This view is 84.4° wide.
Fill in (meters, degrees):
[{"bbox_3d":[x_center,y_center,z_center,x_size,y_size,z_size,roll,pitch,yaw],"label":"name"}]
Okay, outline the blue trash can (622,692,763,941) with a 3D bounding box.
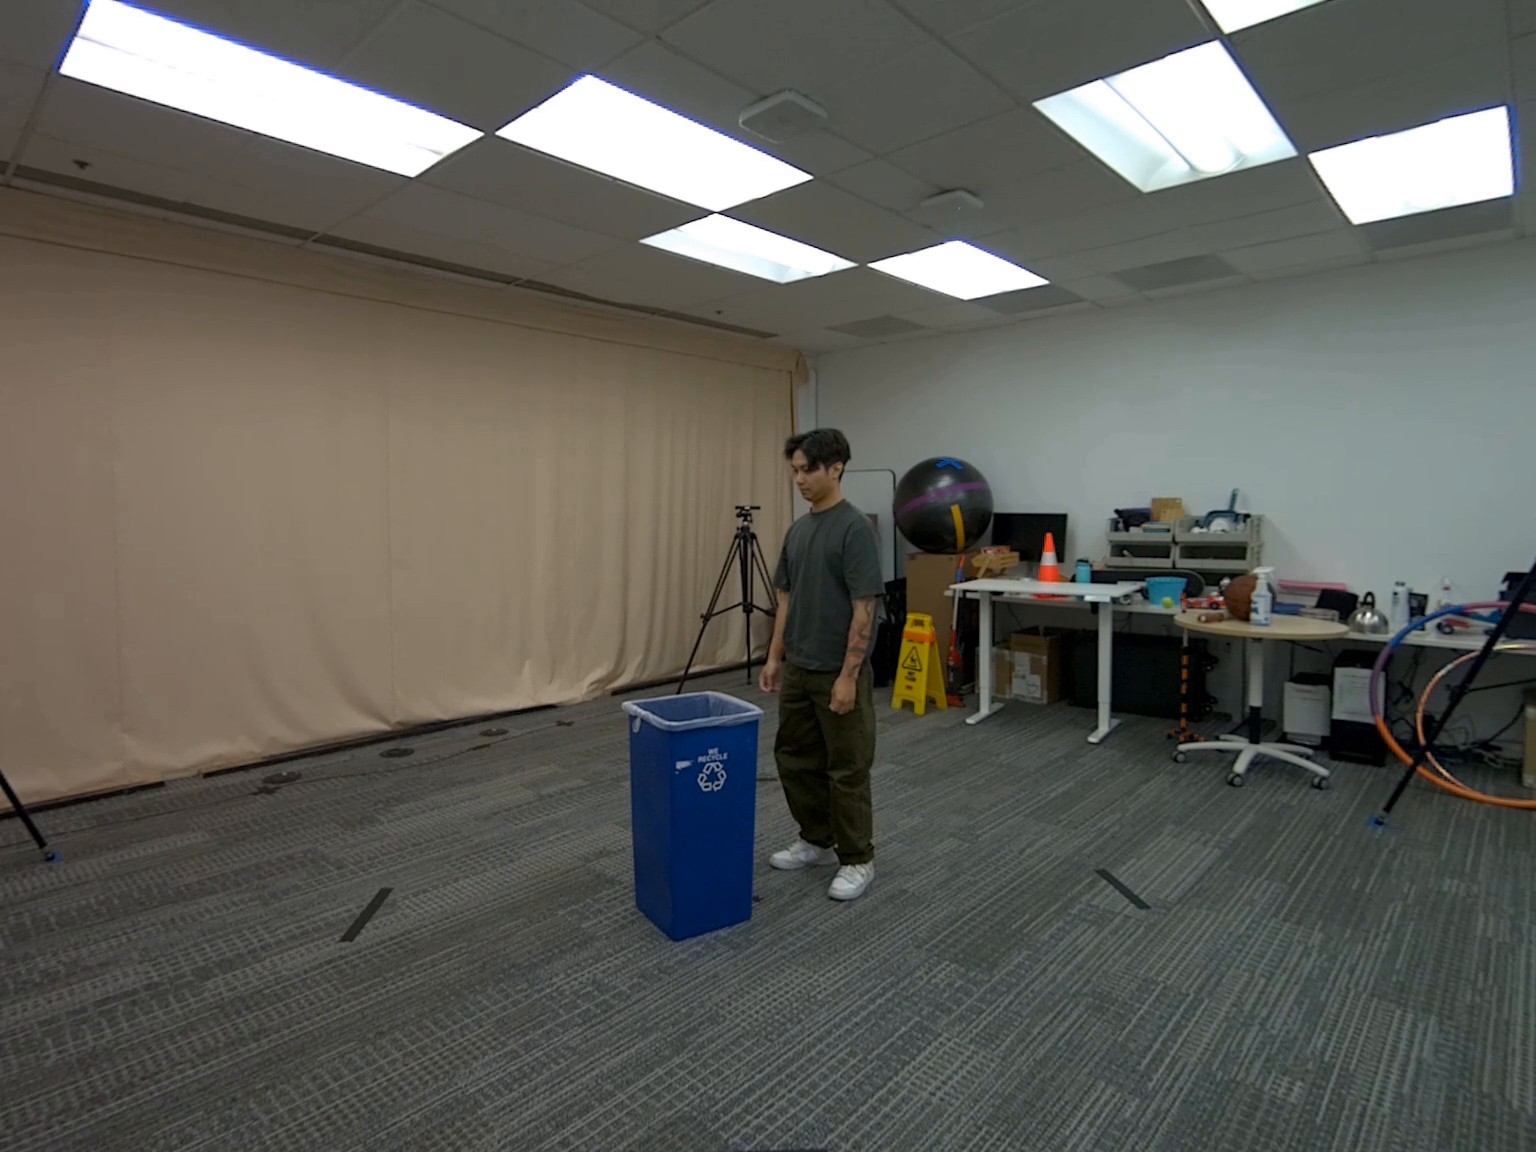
[{"bbox_3d":[-0.248,0.798,2.865,0.367,0.712,0.385,-2,3,-33],"label":"blue trash can"}]
